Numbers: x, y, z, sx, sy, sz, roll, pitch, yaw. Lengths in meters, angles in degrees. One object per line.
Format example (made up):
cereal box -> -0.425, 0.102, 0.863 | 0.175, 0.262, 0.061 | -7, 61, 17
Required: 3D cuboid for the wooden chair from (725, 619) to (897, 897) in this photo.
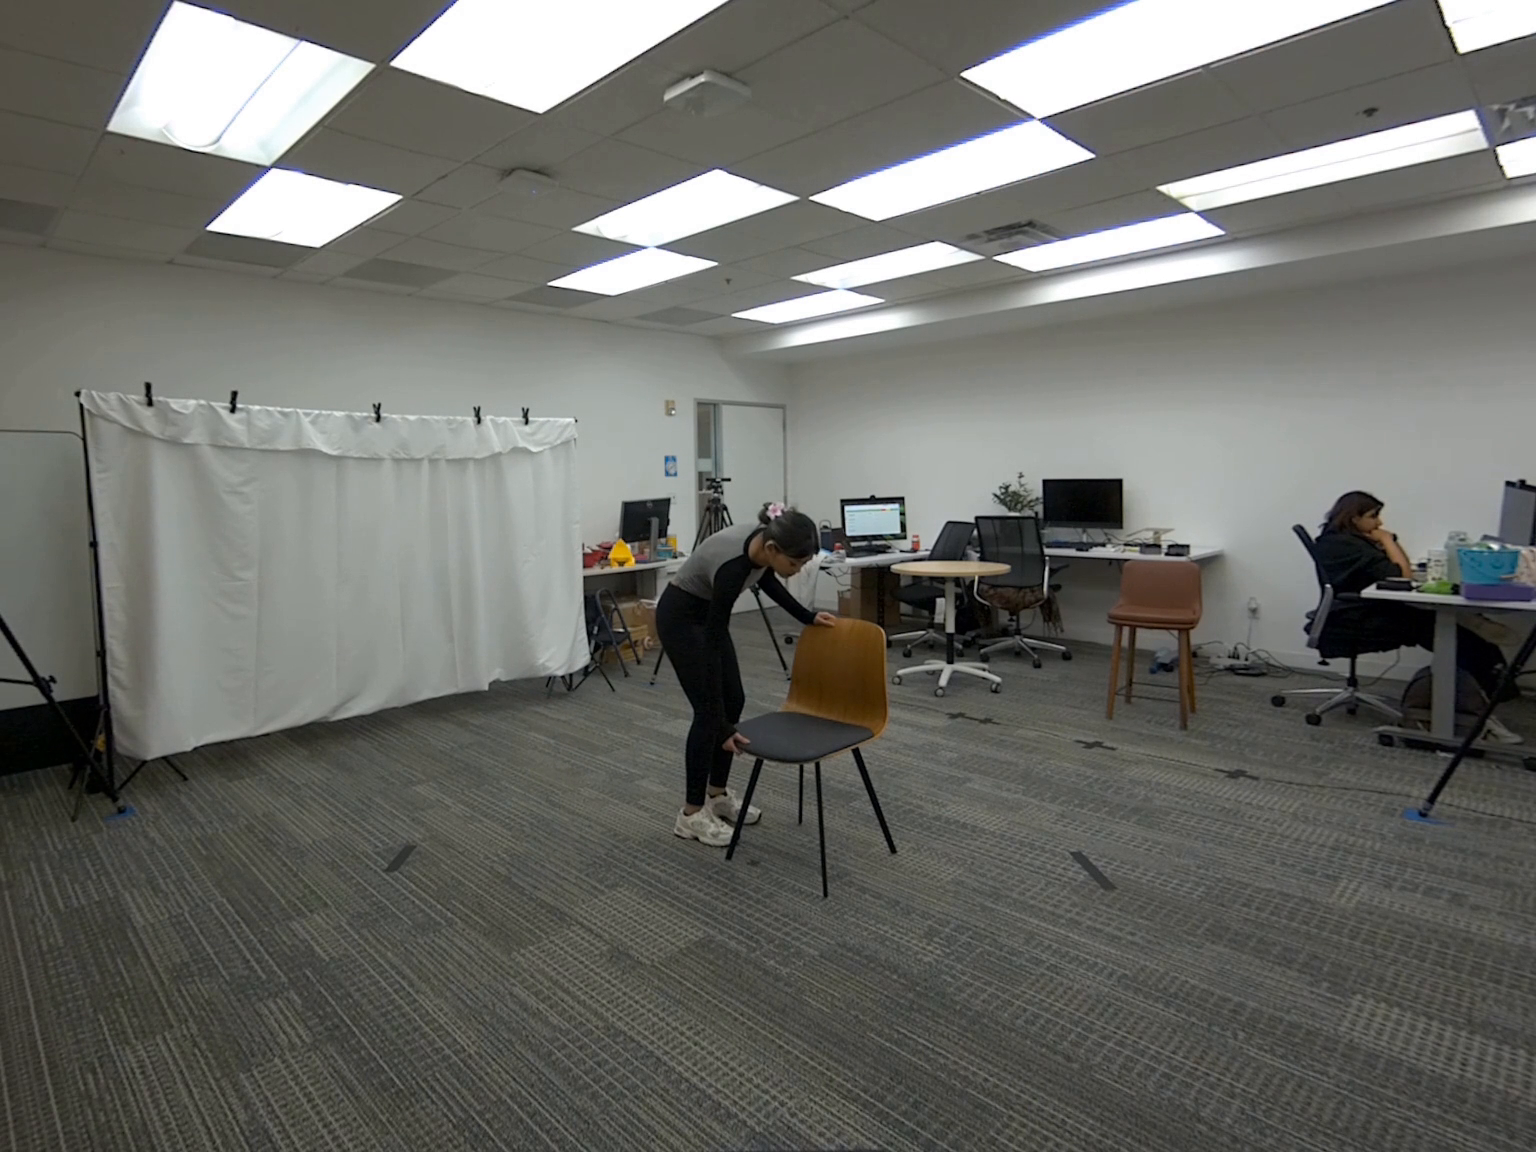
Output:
wooden chair -> 0.158, 0.611, 3.105 | 0.492, 0.877, 0.508 | 3, 1, 40
